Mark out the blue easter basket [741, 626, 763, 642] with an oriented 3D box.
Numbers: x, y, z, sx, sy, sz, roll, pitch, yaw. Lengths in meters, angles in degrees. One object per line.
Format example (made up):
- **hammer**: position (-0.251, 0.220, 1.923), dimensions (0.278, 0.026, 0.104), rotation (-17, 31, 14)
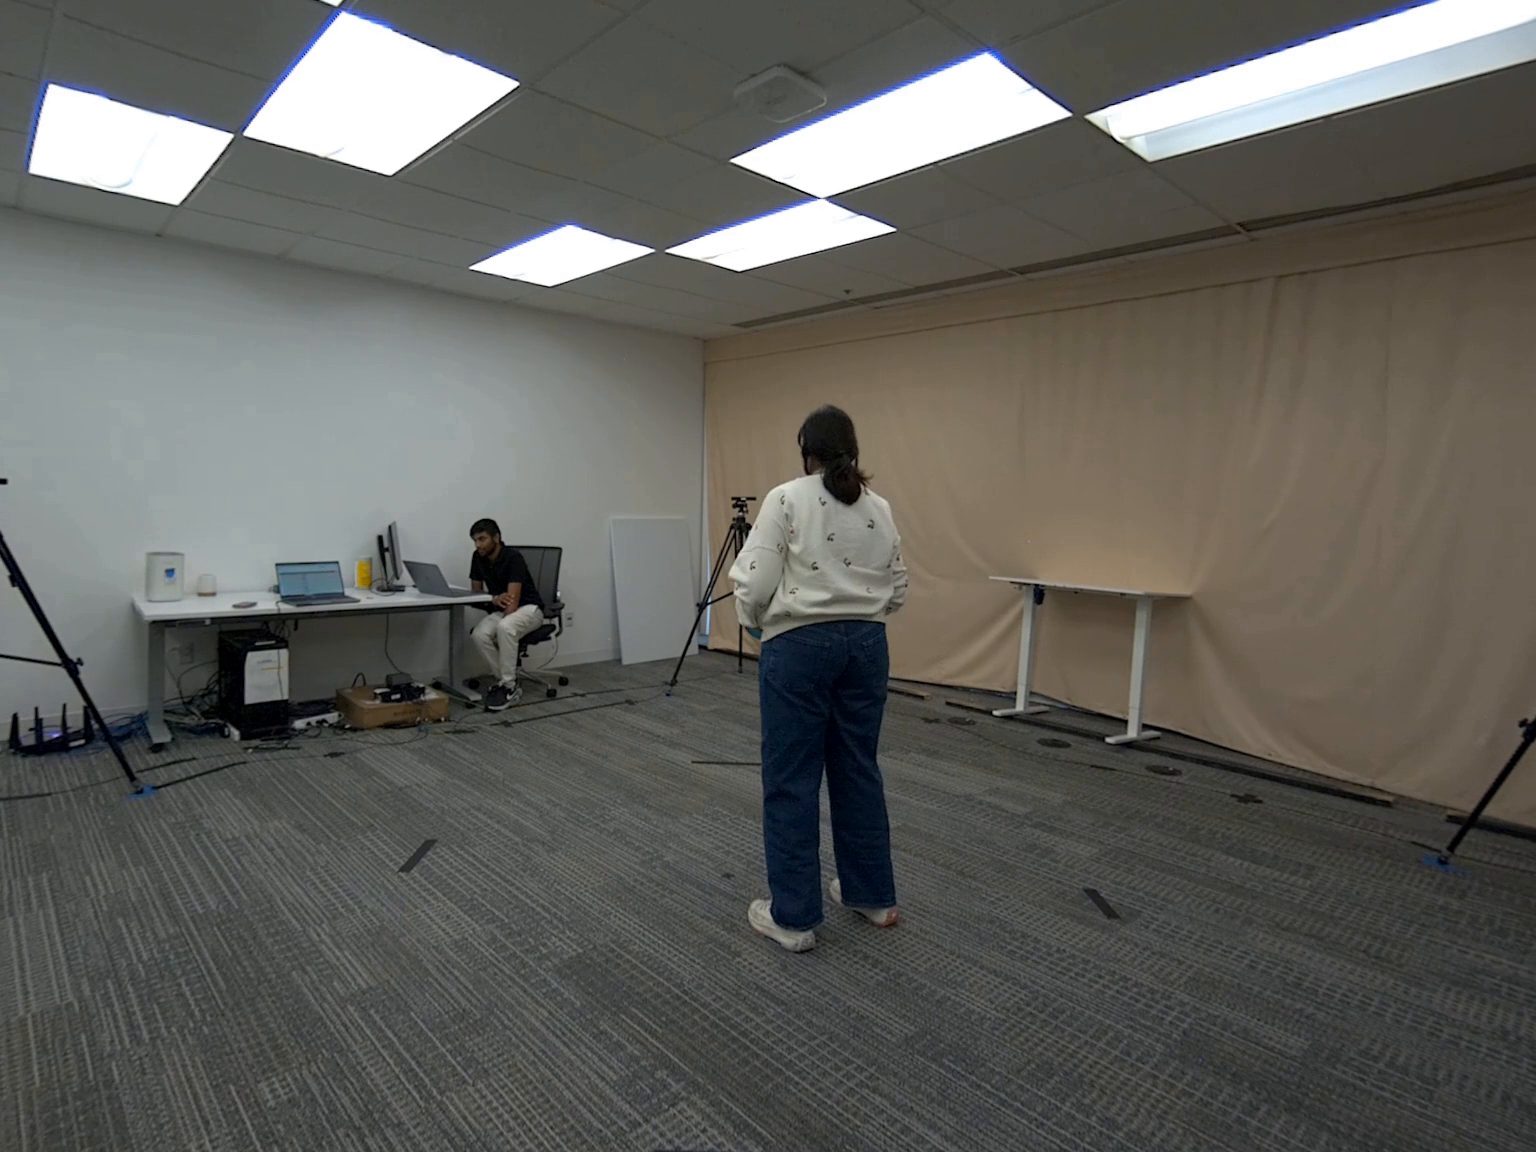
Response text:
- **blue easter basket**: position (0.035, 0.136, 3.013), dimensions (0.246, 0.157, 0.239), rotation (19, -28, 9)
